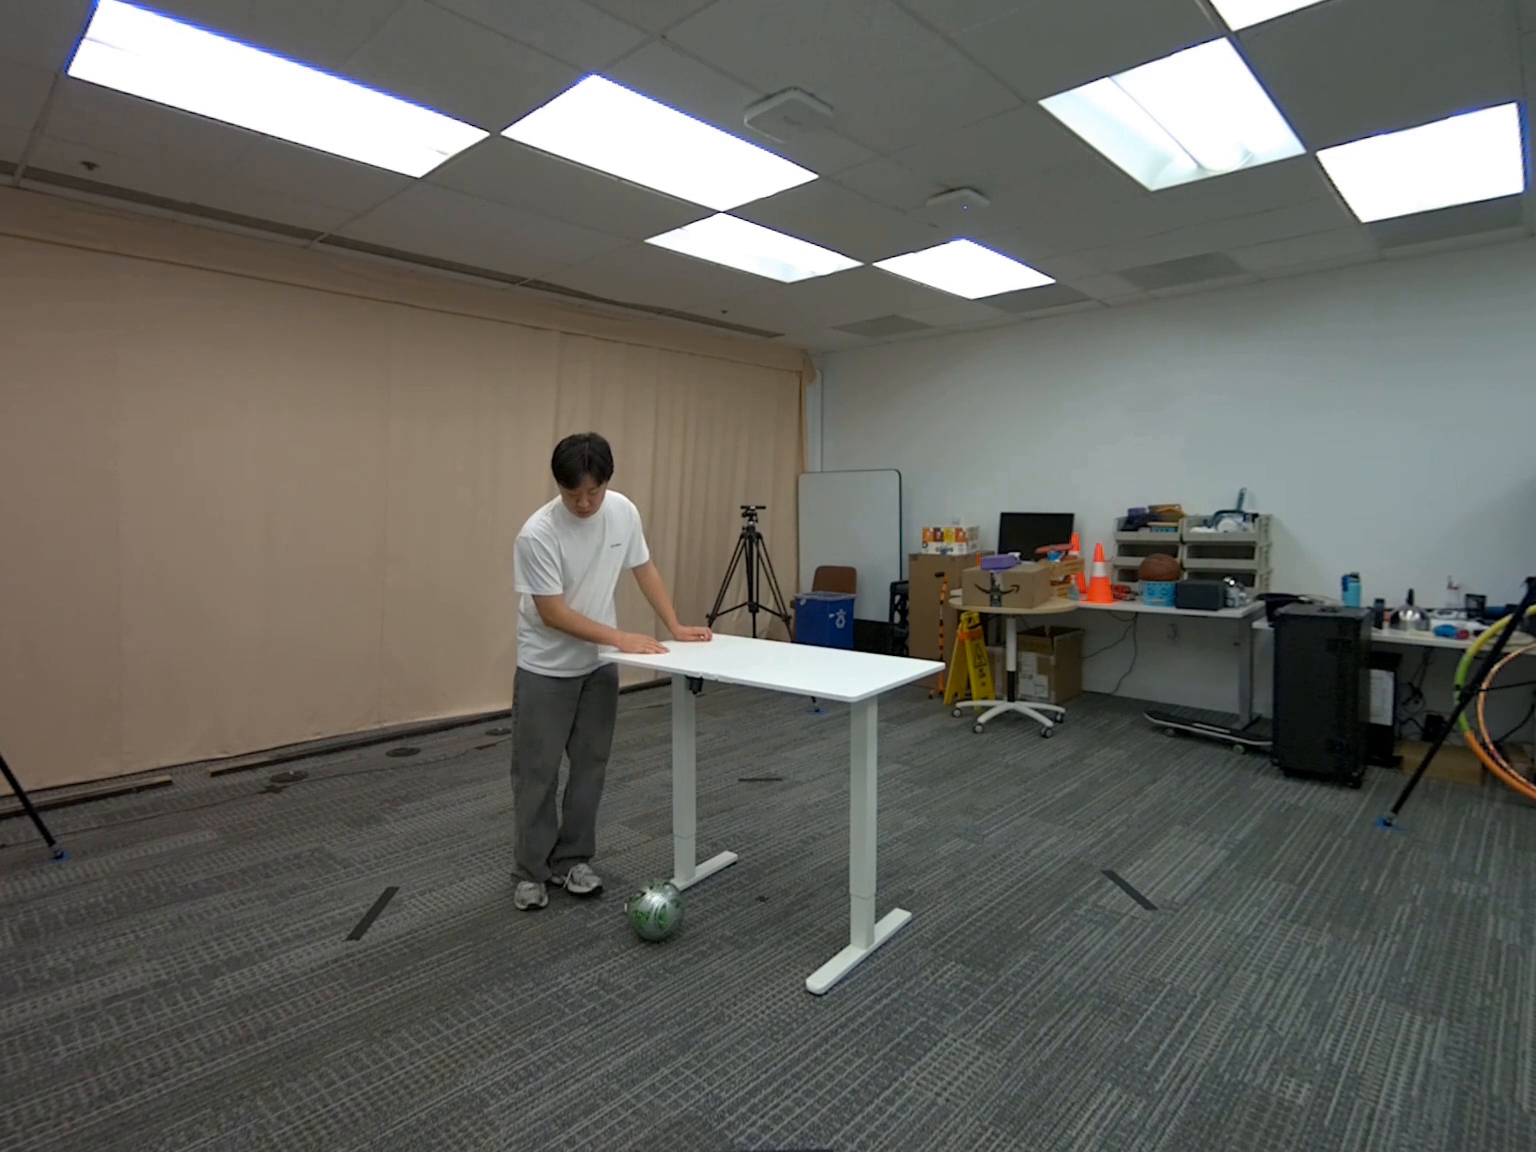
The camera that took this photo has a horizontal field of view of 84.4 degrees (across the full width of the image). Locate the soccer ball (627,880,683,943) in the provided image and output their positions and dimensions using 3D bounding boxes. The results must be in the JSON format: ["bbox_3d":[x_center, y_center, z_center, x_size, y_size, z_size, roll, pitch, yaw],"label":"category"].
[{"bbox_3d":[-0.360,1.071,2.712,0.187,0.187,0.188,0,4,-2],"label":"soccer ball"}]
